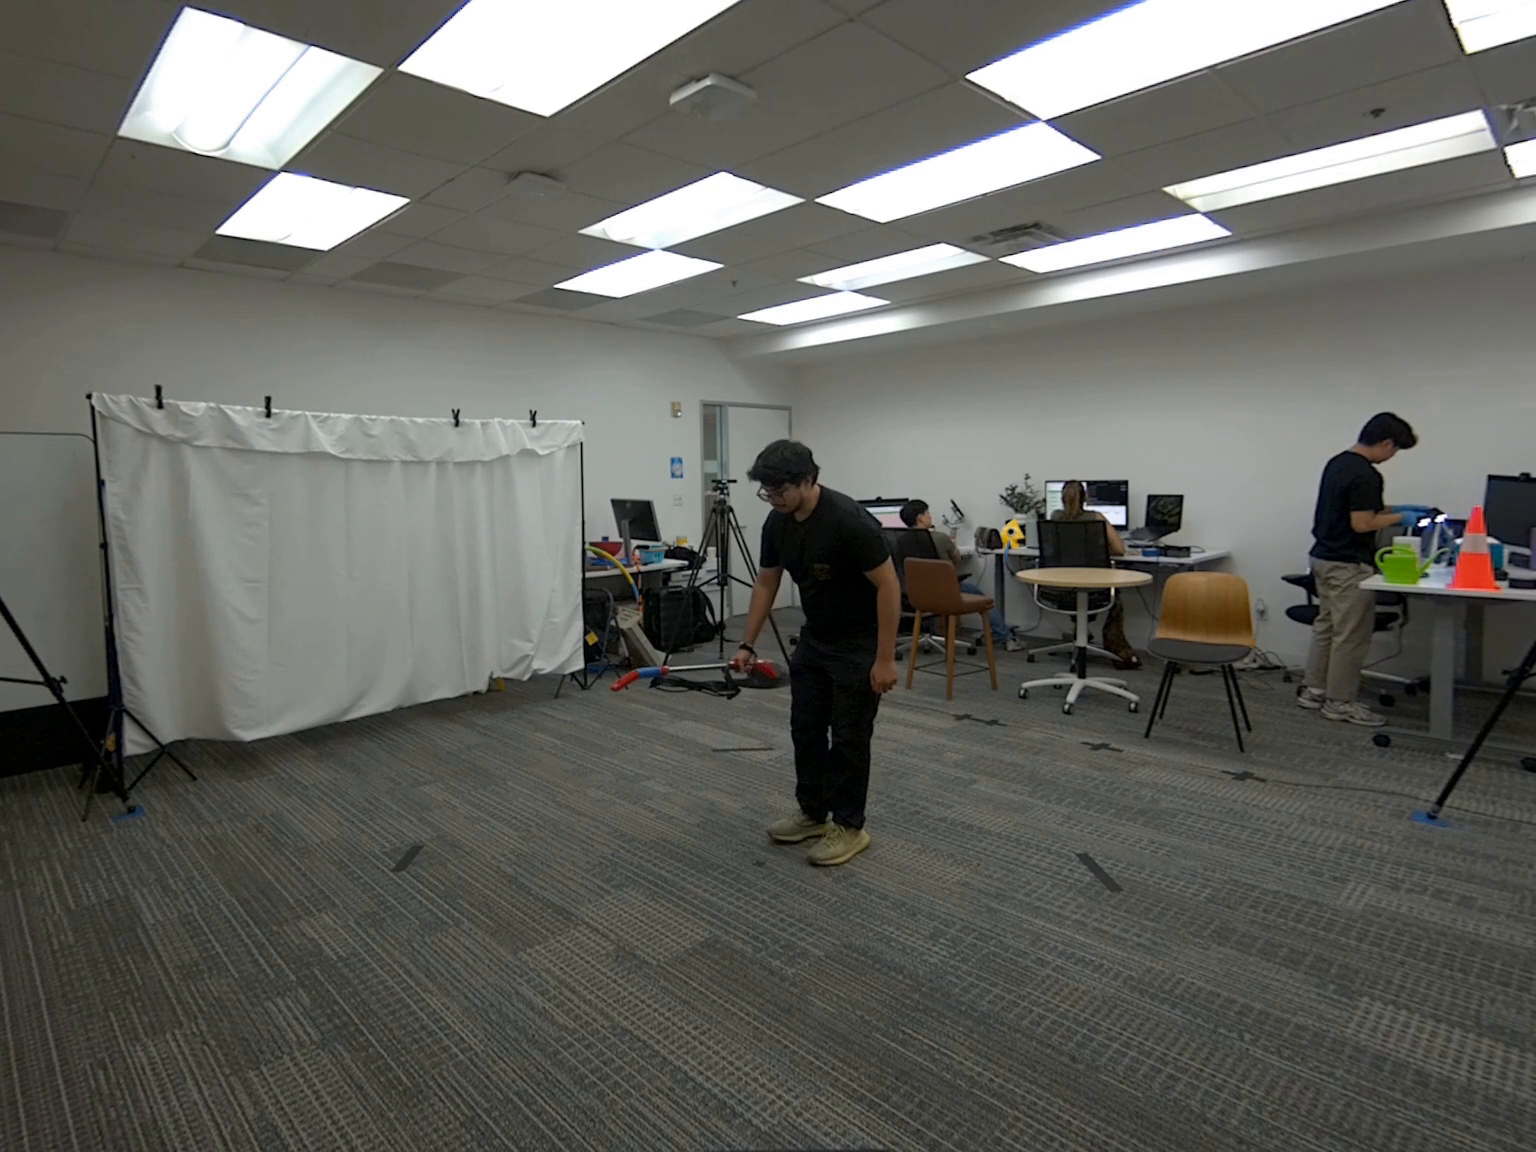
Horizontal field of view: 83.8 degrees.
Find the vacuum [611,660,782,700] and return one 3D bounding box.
[{"bbox_3d":[-0.168,0.396,3.288,1.018,0.143,0.261,1,8,-45],"label":"vacuum"}]
